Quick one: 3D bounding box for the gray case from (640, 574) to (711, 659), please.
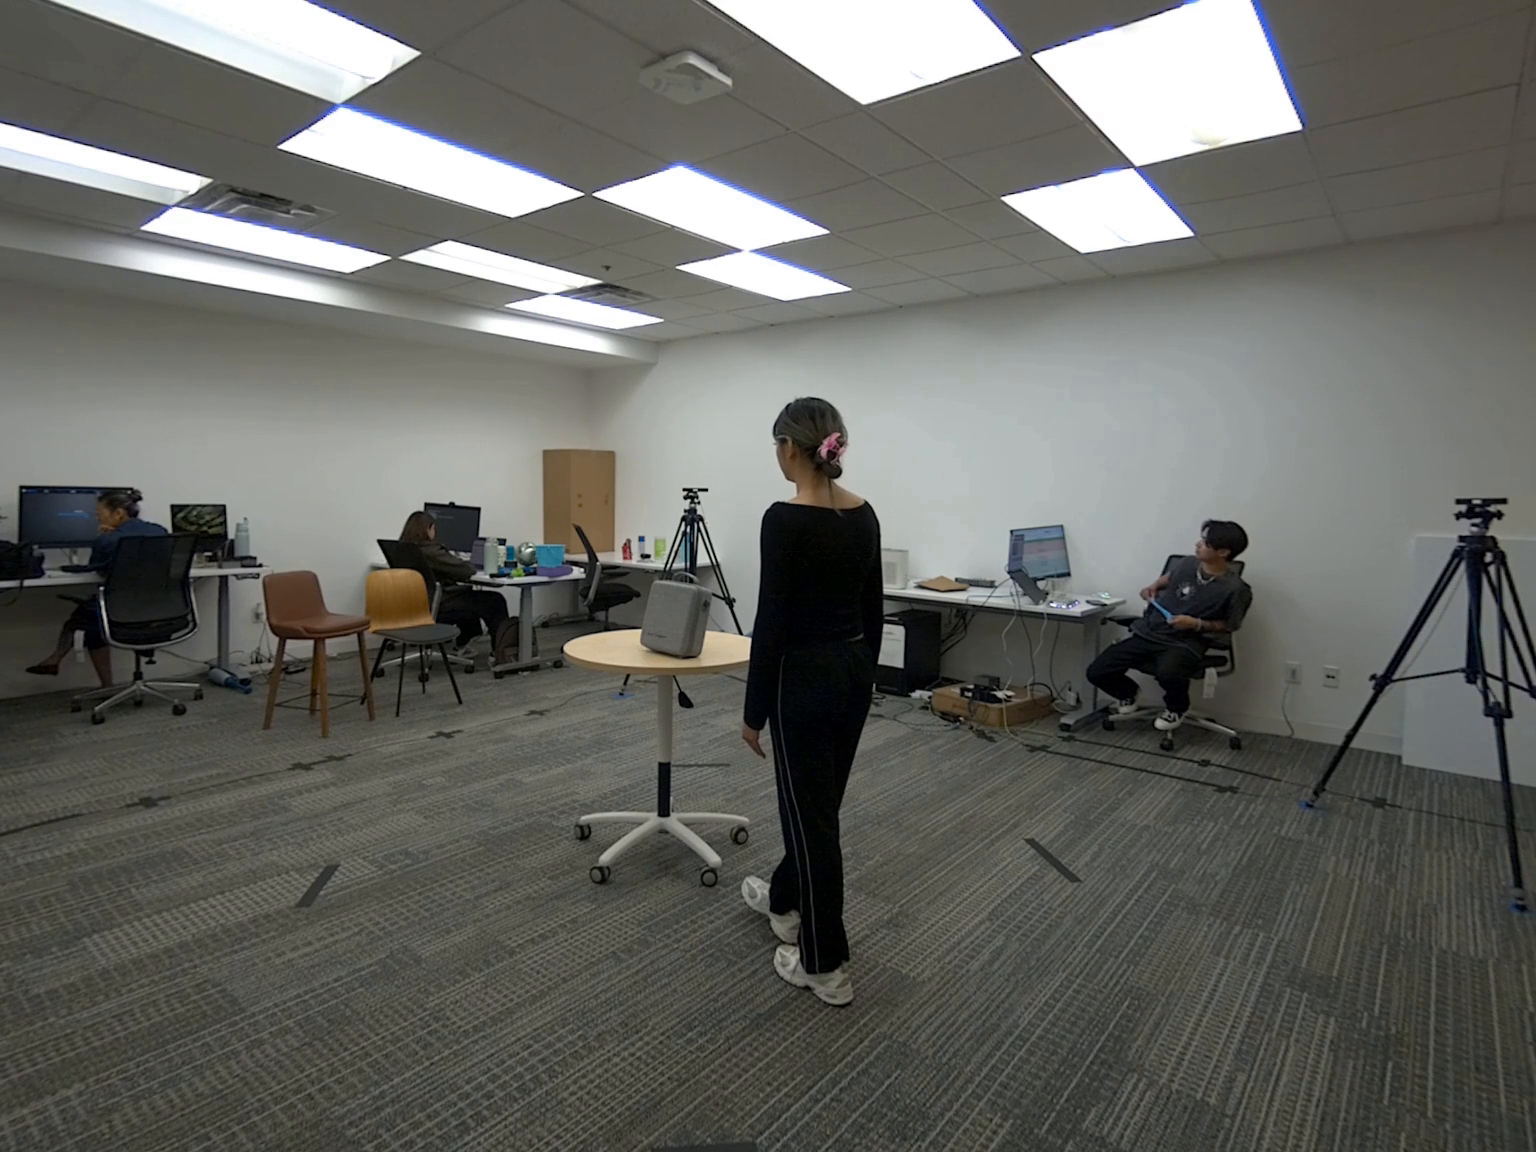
[{"bbox_3d":[-0.345,0.146,3.084,0.100,0.261,0.266,14,-6,-44],"label":"gray case"}]
